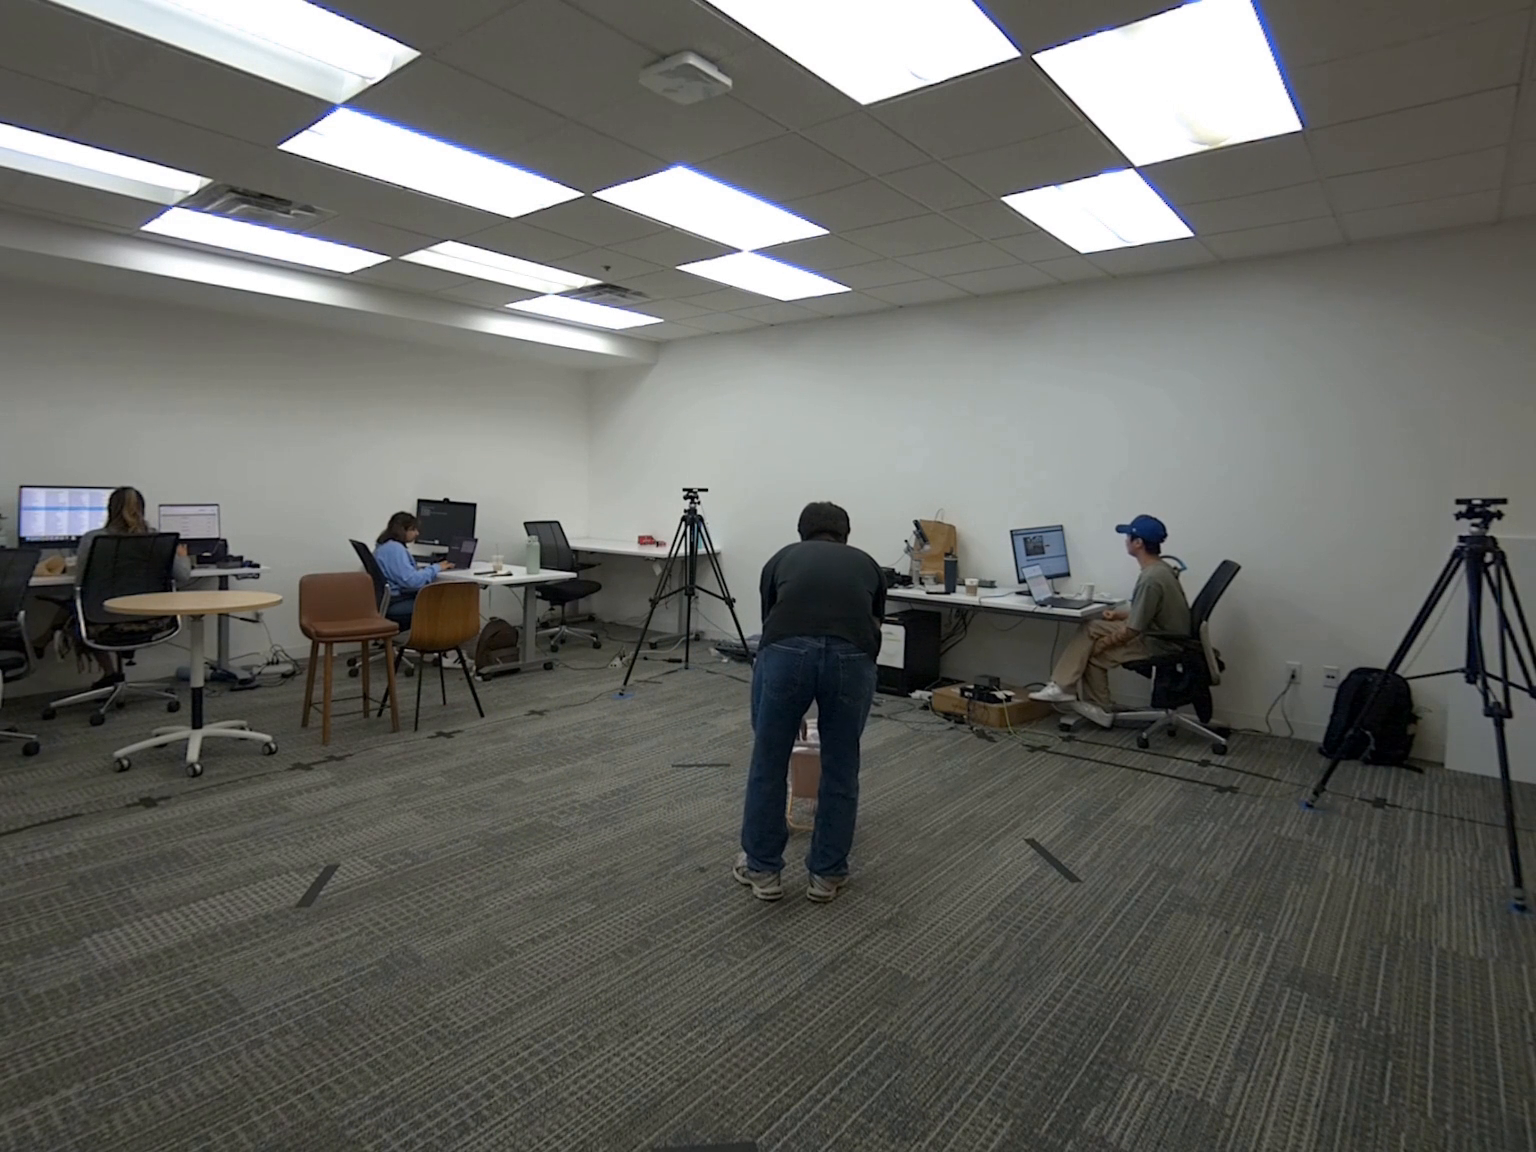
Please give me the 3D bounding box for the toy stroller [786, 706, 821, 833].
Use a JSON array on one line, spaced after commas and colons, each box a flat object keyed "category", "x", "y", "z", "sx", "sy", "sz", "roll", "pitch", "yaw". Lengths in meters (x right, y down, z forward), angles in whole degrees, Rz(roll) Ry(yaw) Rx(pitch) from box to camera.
[{"category": "toy stroller", "x": 0.177, "y": 0.819, "z": 3.502, "sx": 0.285, "sy": 0.525, "sz": 0.343, "roll": 3, "pitch": 20, "yaw": 11}]
